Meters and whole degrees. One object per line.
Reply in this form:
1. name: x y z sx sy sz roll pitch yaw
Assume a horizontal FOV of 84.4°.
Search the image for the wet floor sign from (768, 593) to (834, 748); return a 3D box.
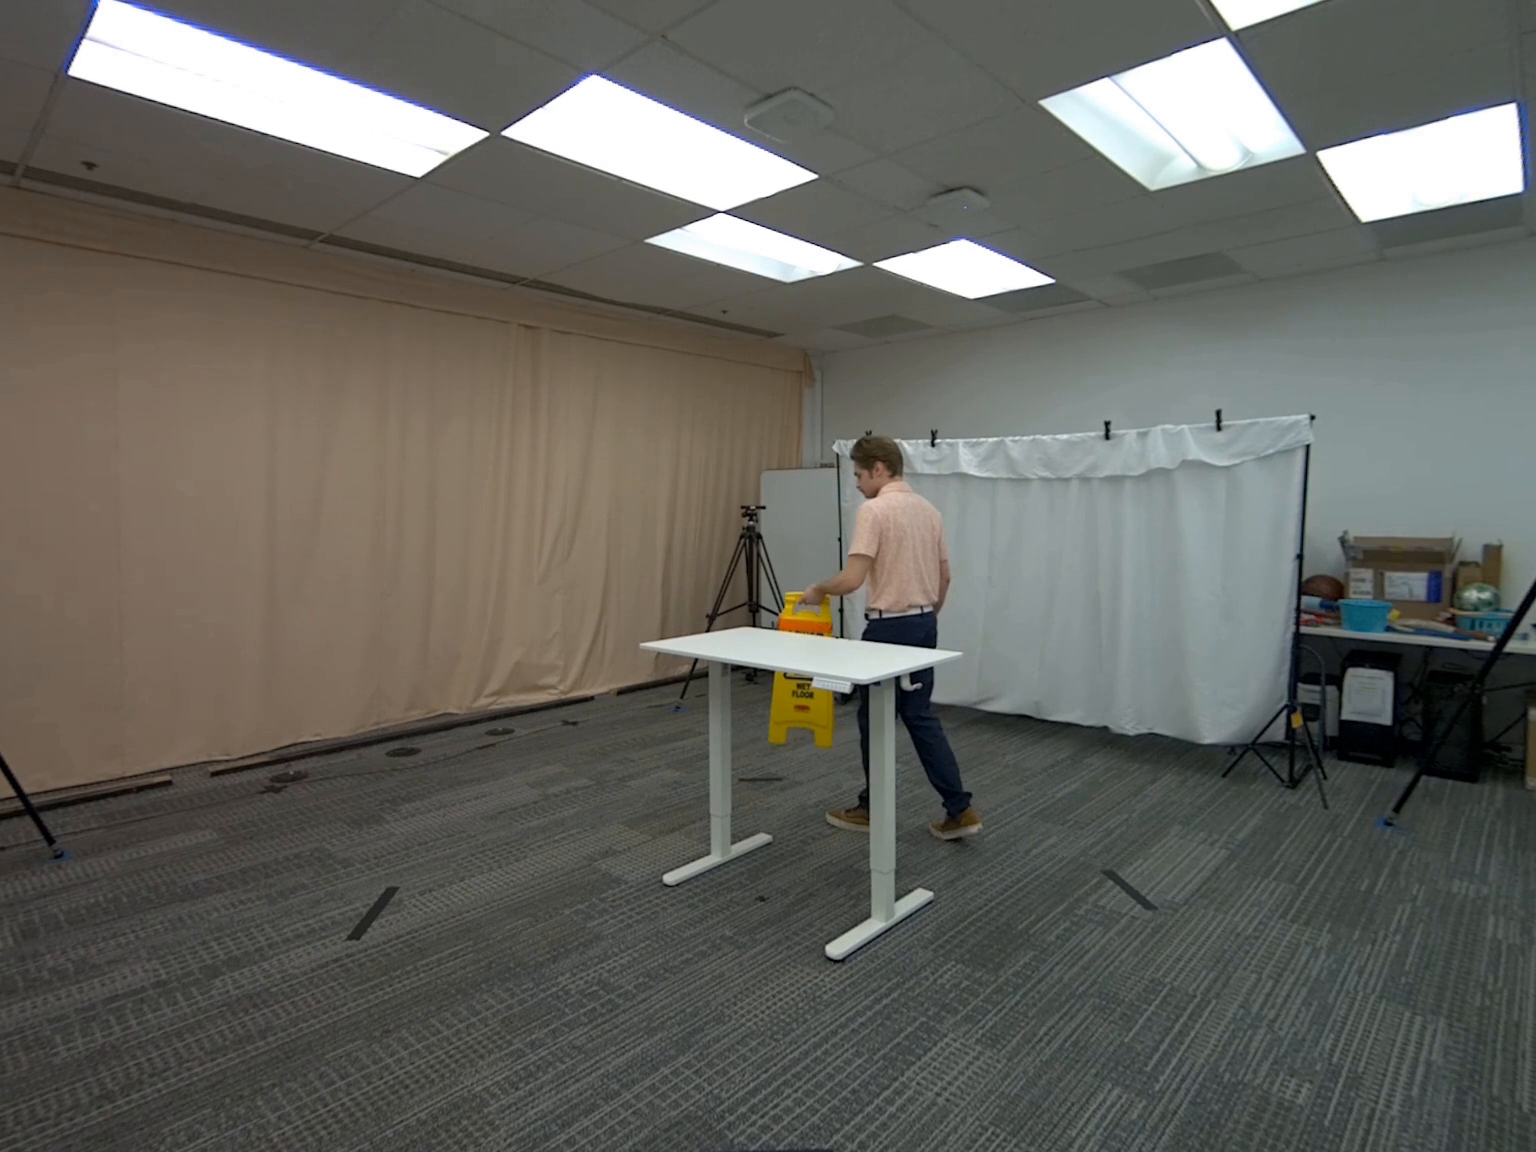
1. wet floor sign: 0.165 0.401 3.756 0.284 0.643 0.289 4 7 6
